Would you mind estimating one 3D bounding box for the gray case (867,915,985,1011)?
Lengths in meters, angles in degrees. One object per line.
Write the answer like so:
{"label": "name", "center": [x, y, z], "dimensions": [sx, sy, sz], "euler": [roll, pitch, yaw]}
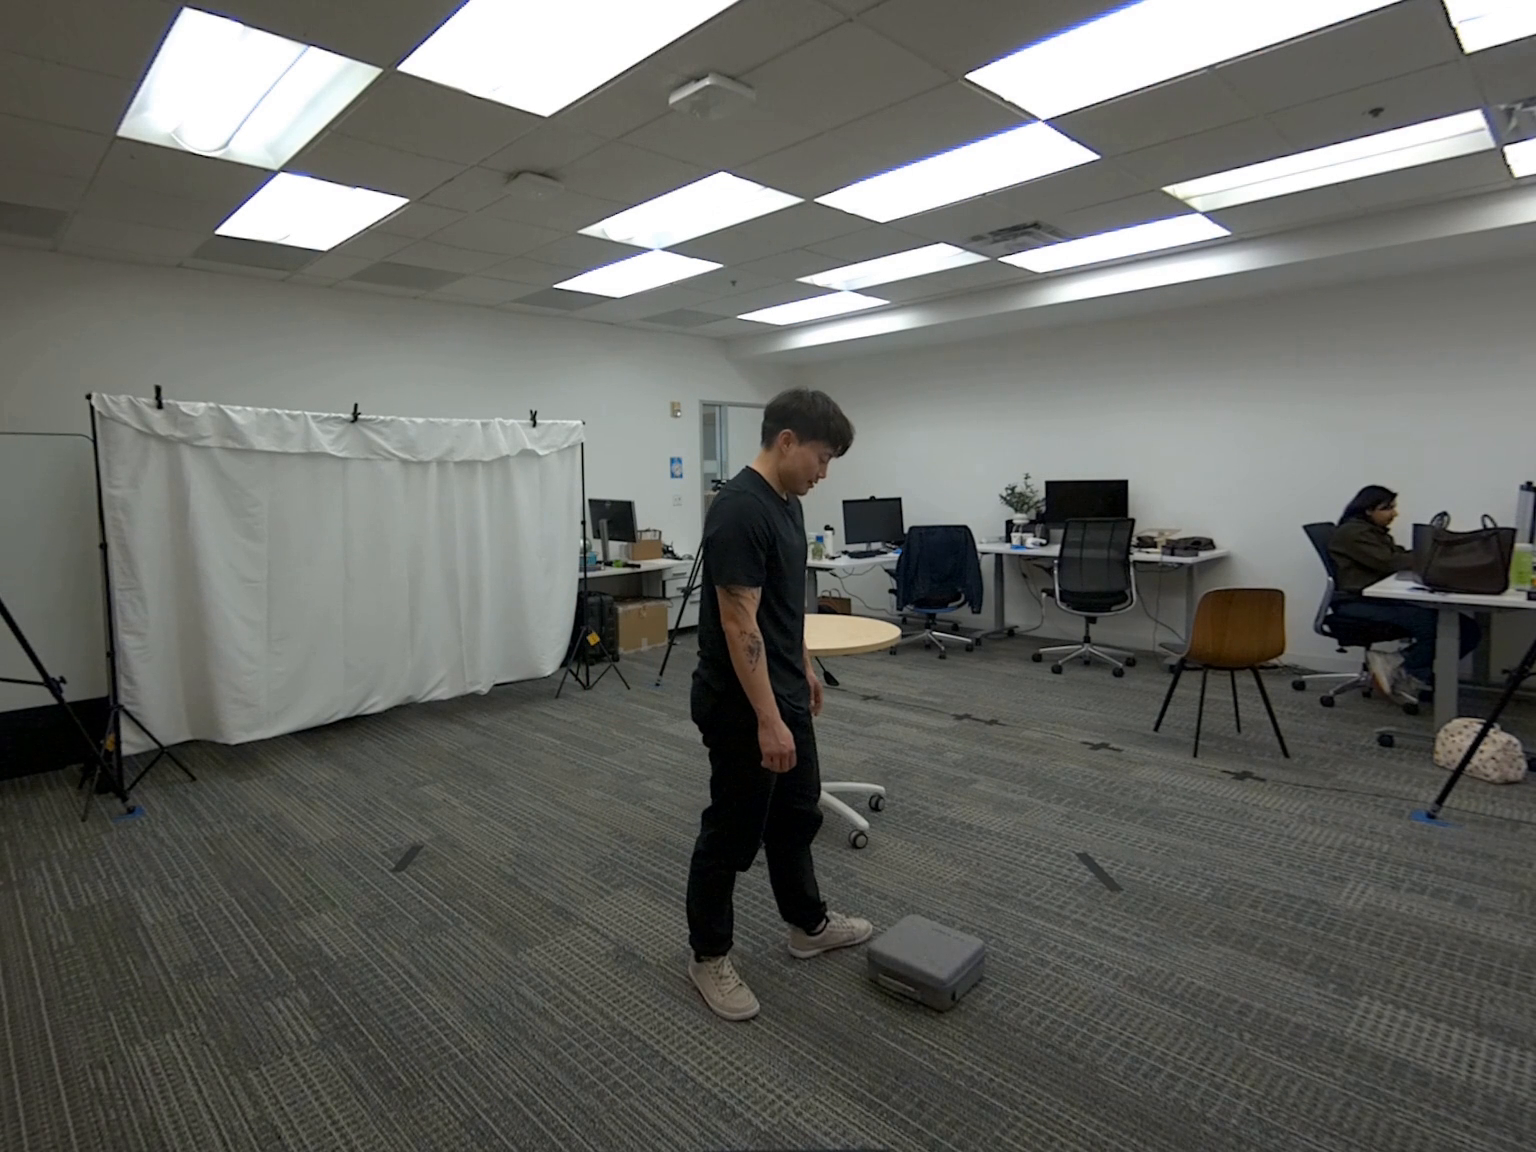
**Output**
{"label": "gray case", "center": [0.445, 1.068, 2.378], "dimensions": [0.265, 0.104, 0.254], "euler": [6, 10, 39]}
